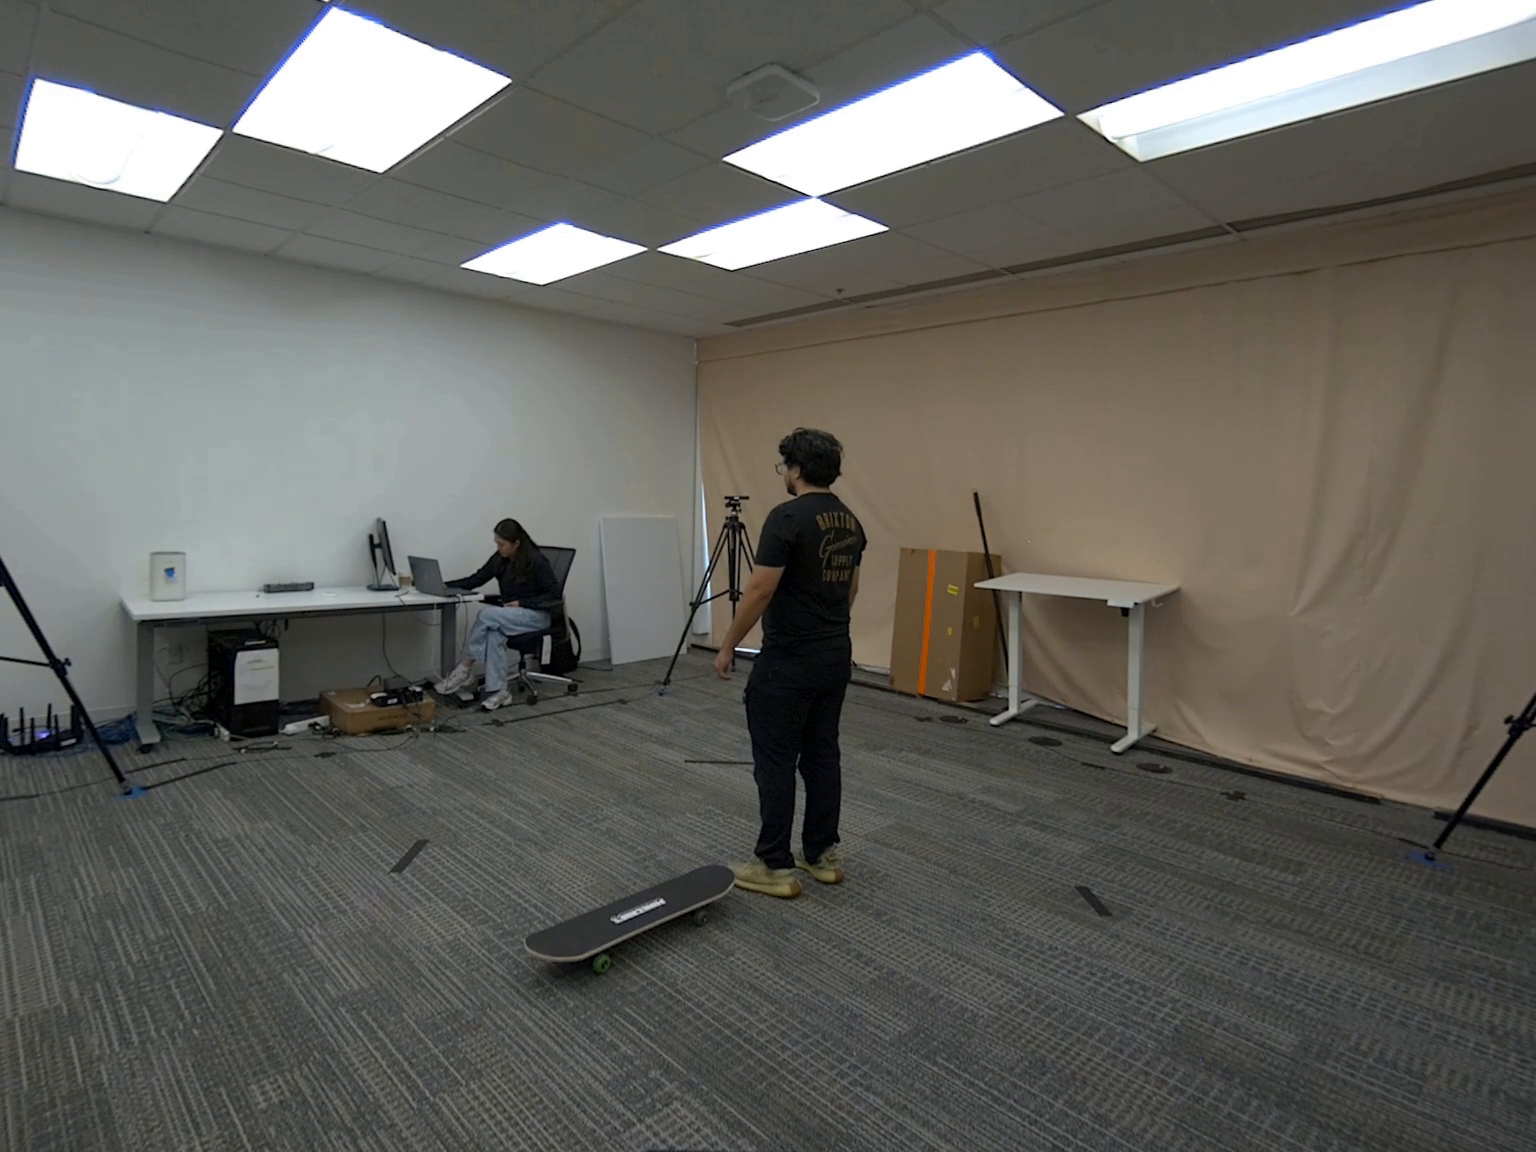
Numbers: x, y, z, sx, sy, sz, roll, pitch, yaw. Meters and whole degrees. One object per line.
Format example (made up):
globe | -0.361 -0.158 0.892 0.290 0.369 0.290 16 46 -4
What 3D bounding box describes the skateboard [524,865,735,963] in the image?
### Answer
skateboard | -0.408 1.085 2.643 0.198 0.110 0.768 6 7 43
